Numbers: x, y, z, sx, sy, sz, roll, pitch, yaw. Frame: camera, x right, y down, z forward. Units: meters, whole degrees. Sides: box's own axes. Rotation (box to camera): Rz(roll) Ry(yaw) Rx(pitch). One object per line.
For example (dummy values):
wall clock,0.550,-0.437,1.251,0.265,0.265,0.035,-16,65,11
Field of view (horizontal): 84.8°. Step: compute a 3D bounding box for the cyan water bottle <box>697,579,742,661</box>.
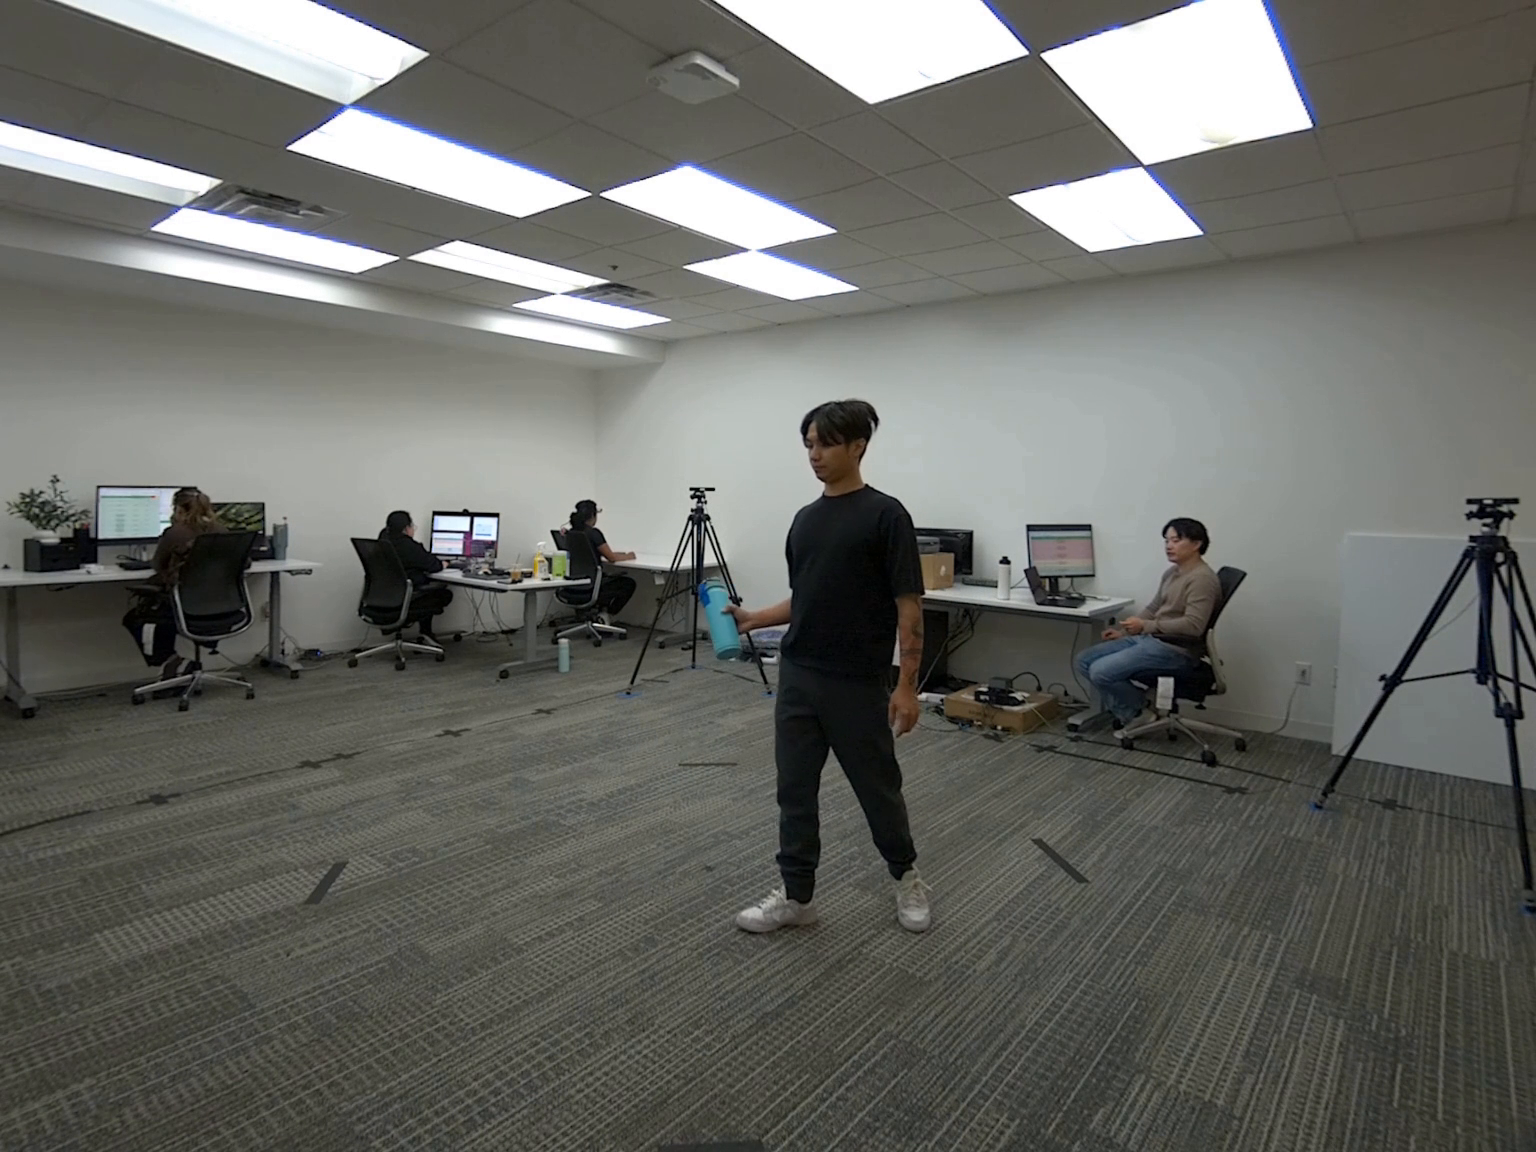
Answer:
cyan water bottle,-0.163,0.129,2.807,0.092,0.292,0.090,-11,-29,-8
